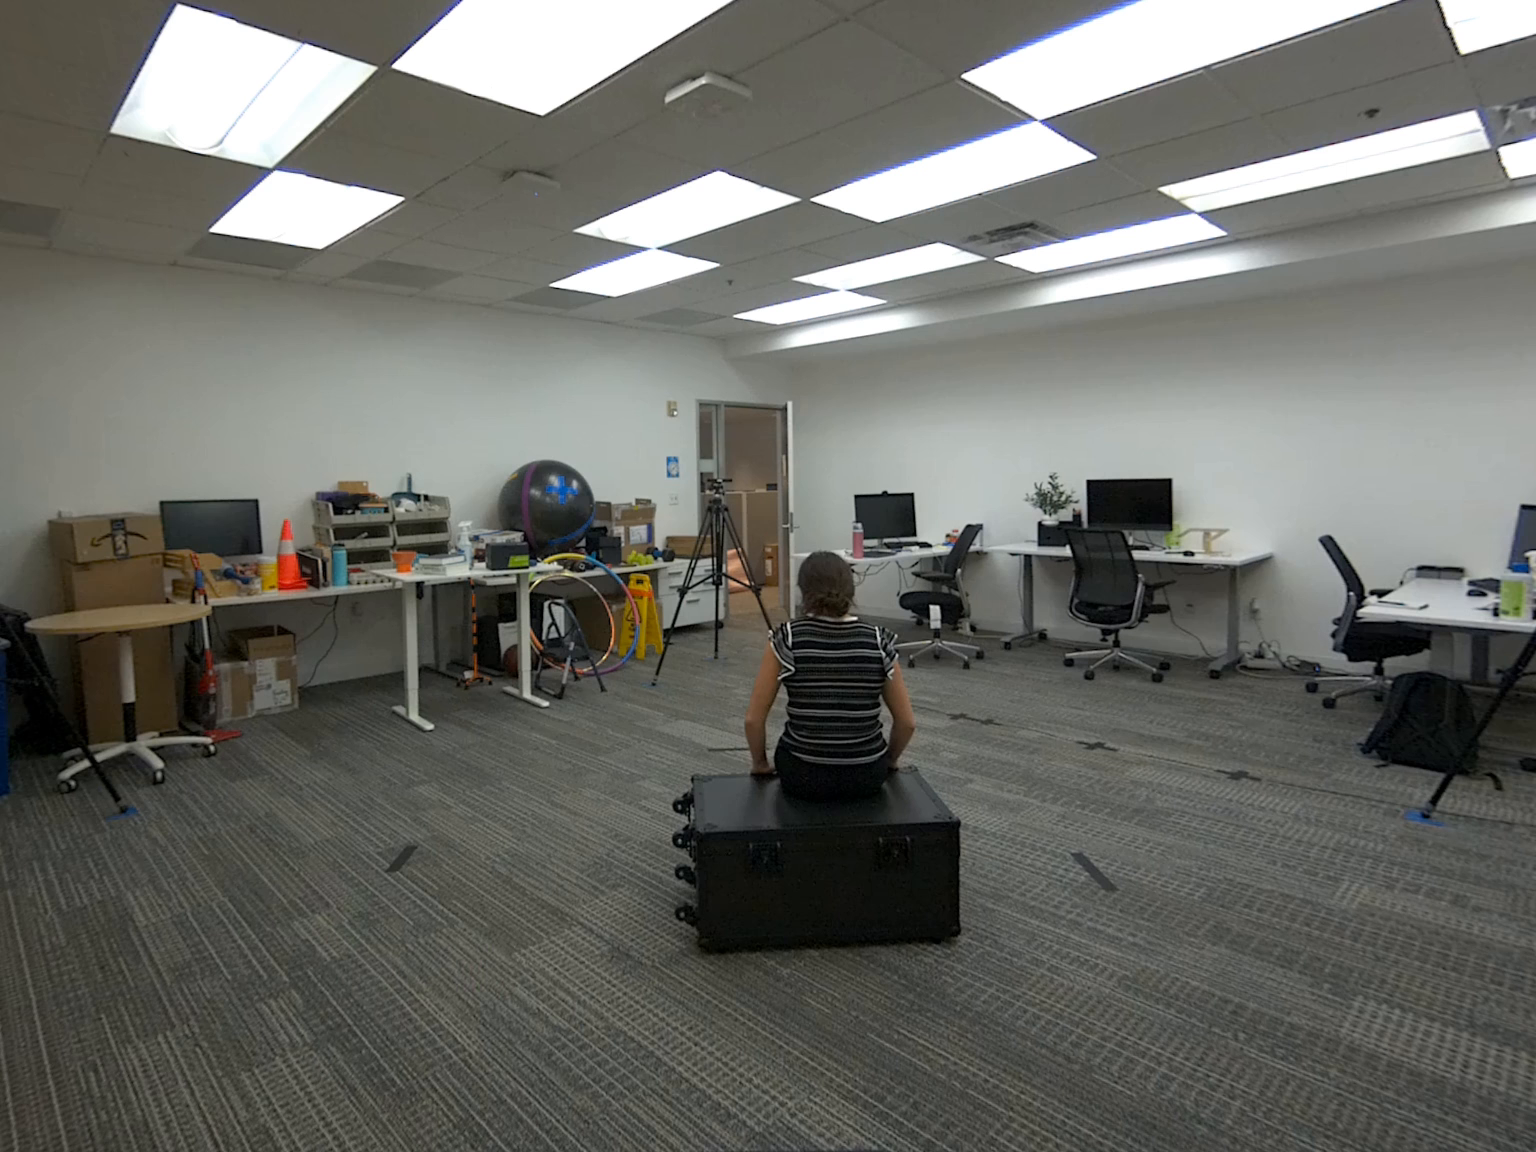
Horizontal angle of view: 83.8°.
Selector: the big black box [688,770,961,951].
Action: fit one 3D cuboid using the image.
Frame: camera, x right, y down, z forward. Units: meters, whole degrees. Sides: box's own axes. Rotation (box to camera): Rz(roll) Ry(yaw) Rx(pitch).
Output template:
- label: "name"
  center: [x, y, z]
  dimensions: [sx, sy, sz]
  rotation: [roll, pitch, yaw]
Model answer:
- label: "big black box"
  center: [0.124, 0.889, 2.751]
  dimensions: [0.858, 0.395, 0.526]
  rotation: [-1, 5, -5]
